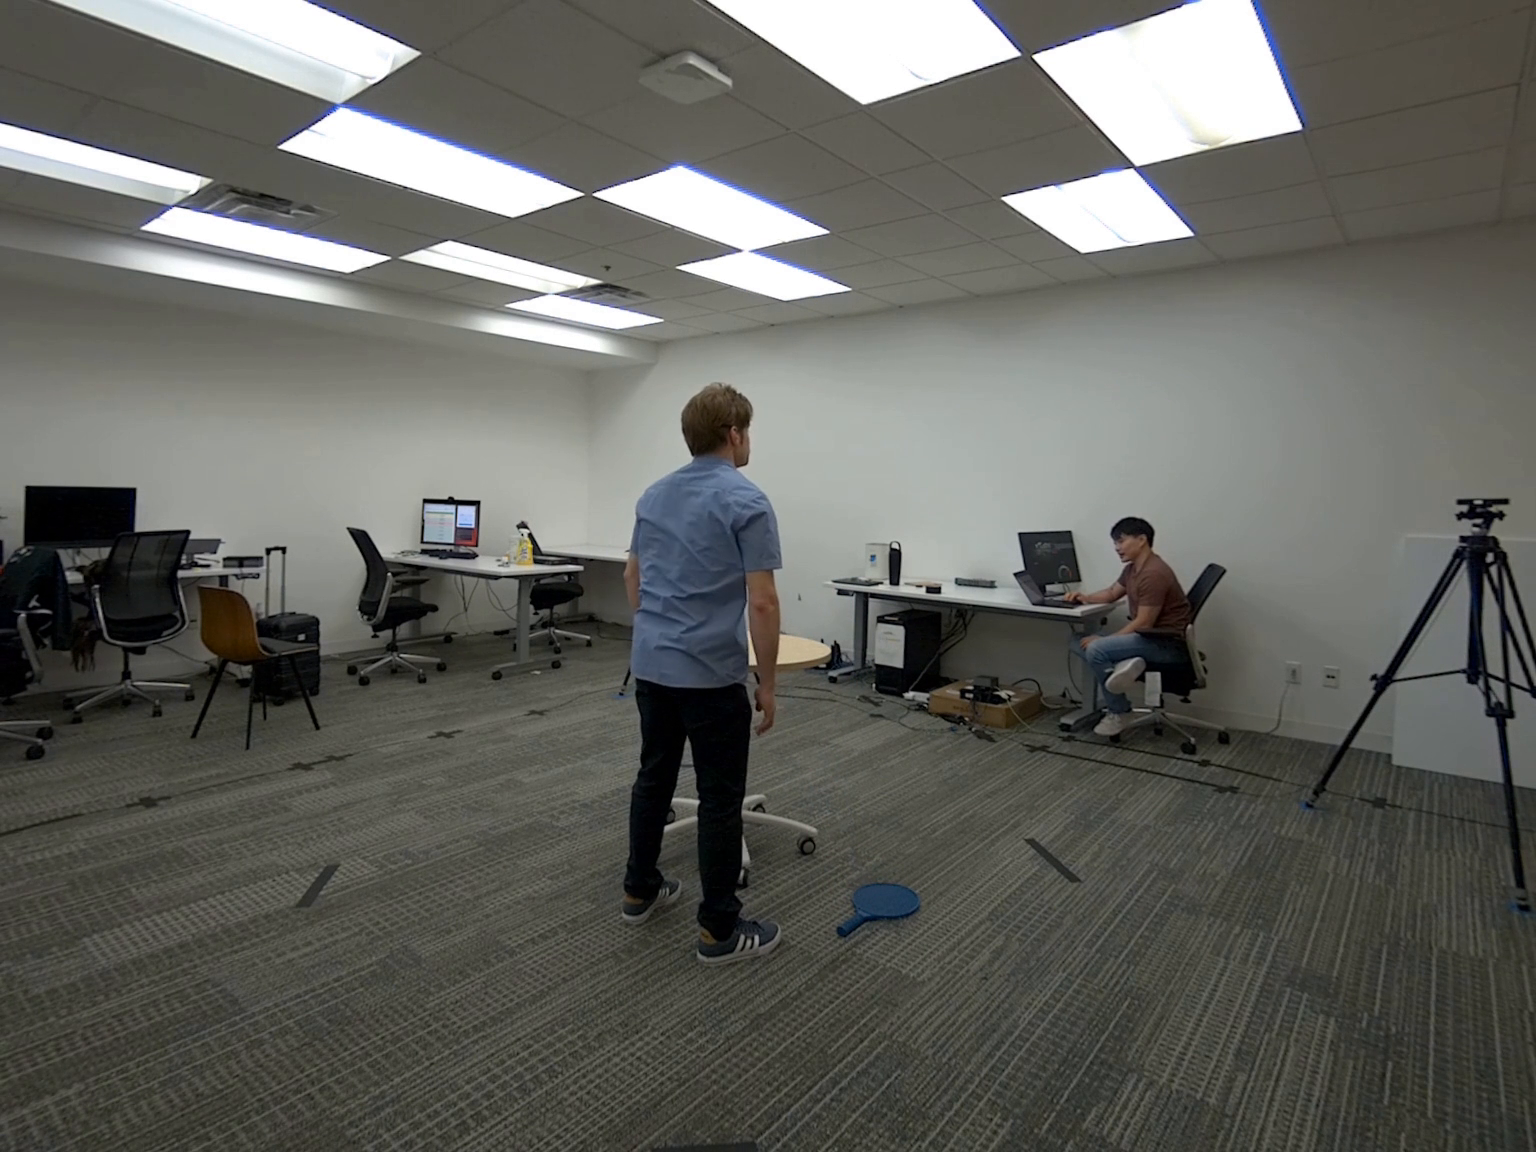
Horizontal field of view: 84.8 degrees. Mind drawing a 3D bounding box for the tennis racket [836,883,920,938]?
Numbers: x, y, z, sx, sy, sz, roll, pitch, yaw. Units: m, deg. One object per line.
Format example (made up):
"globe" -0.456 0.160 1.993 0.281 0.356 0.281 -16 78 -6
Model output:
"tennis racket" 0.343 1.094 2.826 0.221 0.031 0.420 6 6 35
